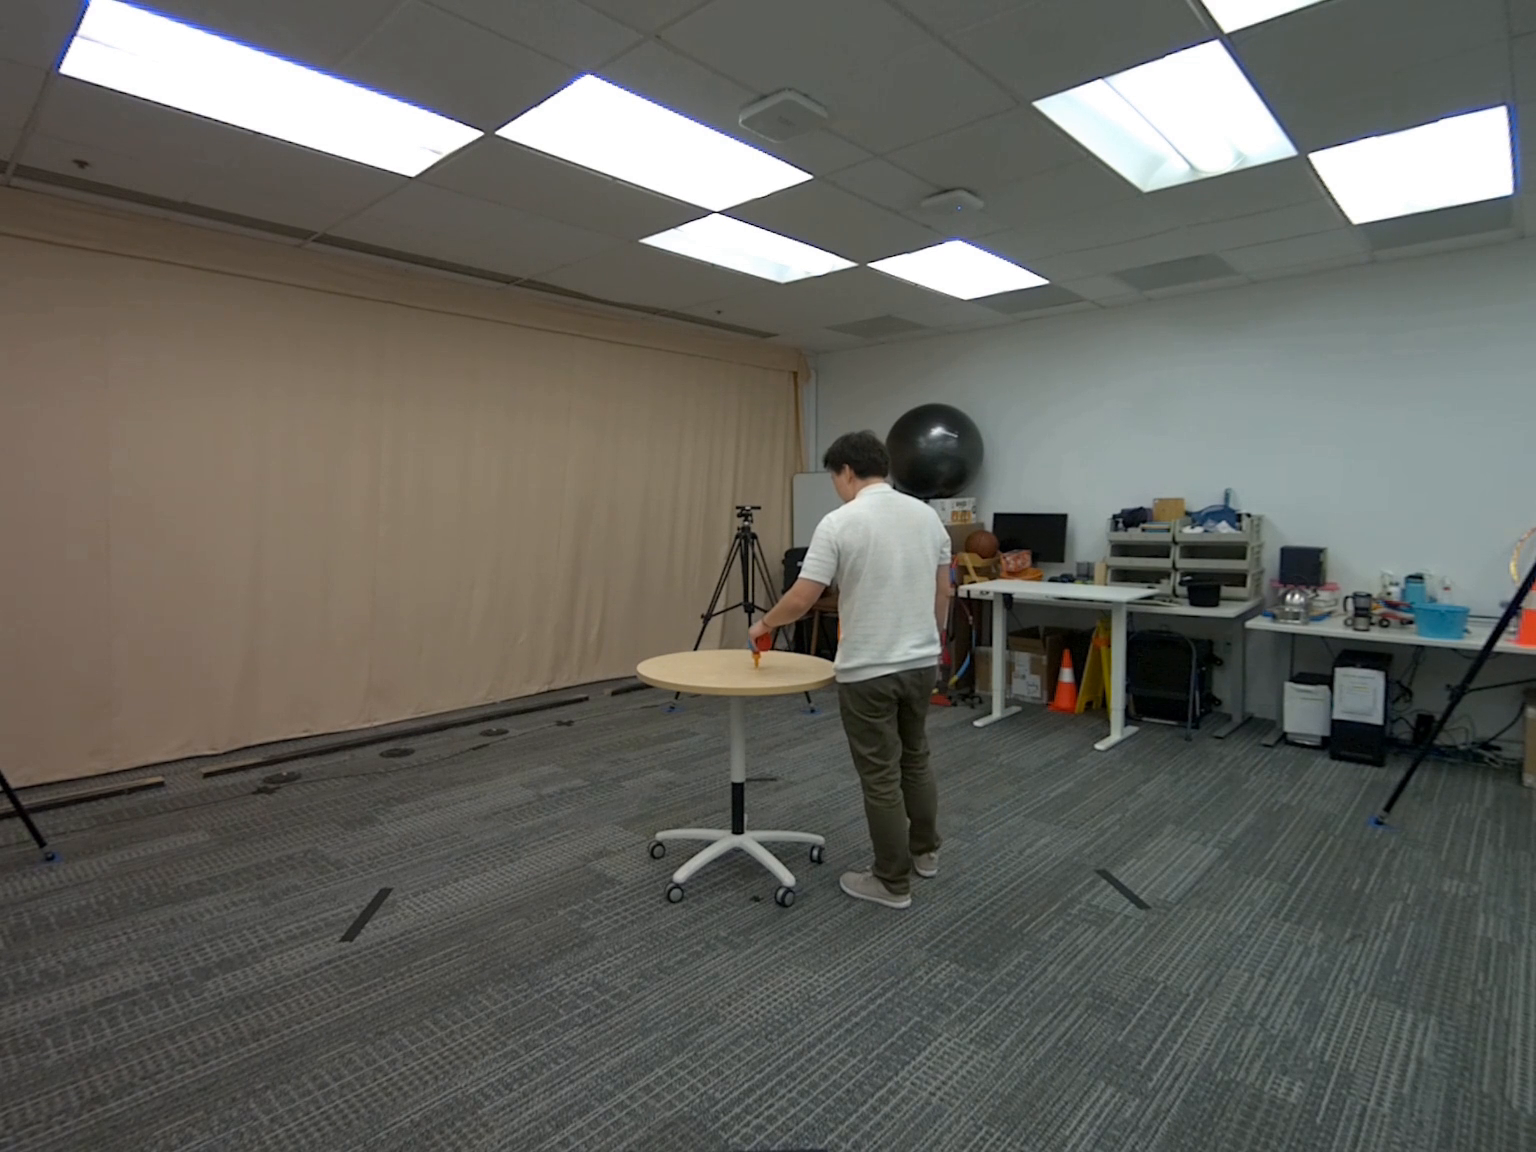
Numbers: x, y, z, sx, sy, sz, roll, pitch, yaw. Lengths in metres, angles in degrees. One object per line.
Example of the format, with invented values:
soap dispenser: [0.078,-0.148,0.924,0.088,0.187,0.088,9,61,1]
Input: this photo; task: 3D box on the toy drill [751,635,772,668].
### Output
toy drill: [-0.036,0.270,3.129,0.060,0.169,0.149,1,10,-15]
